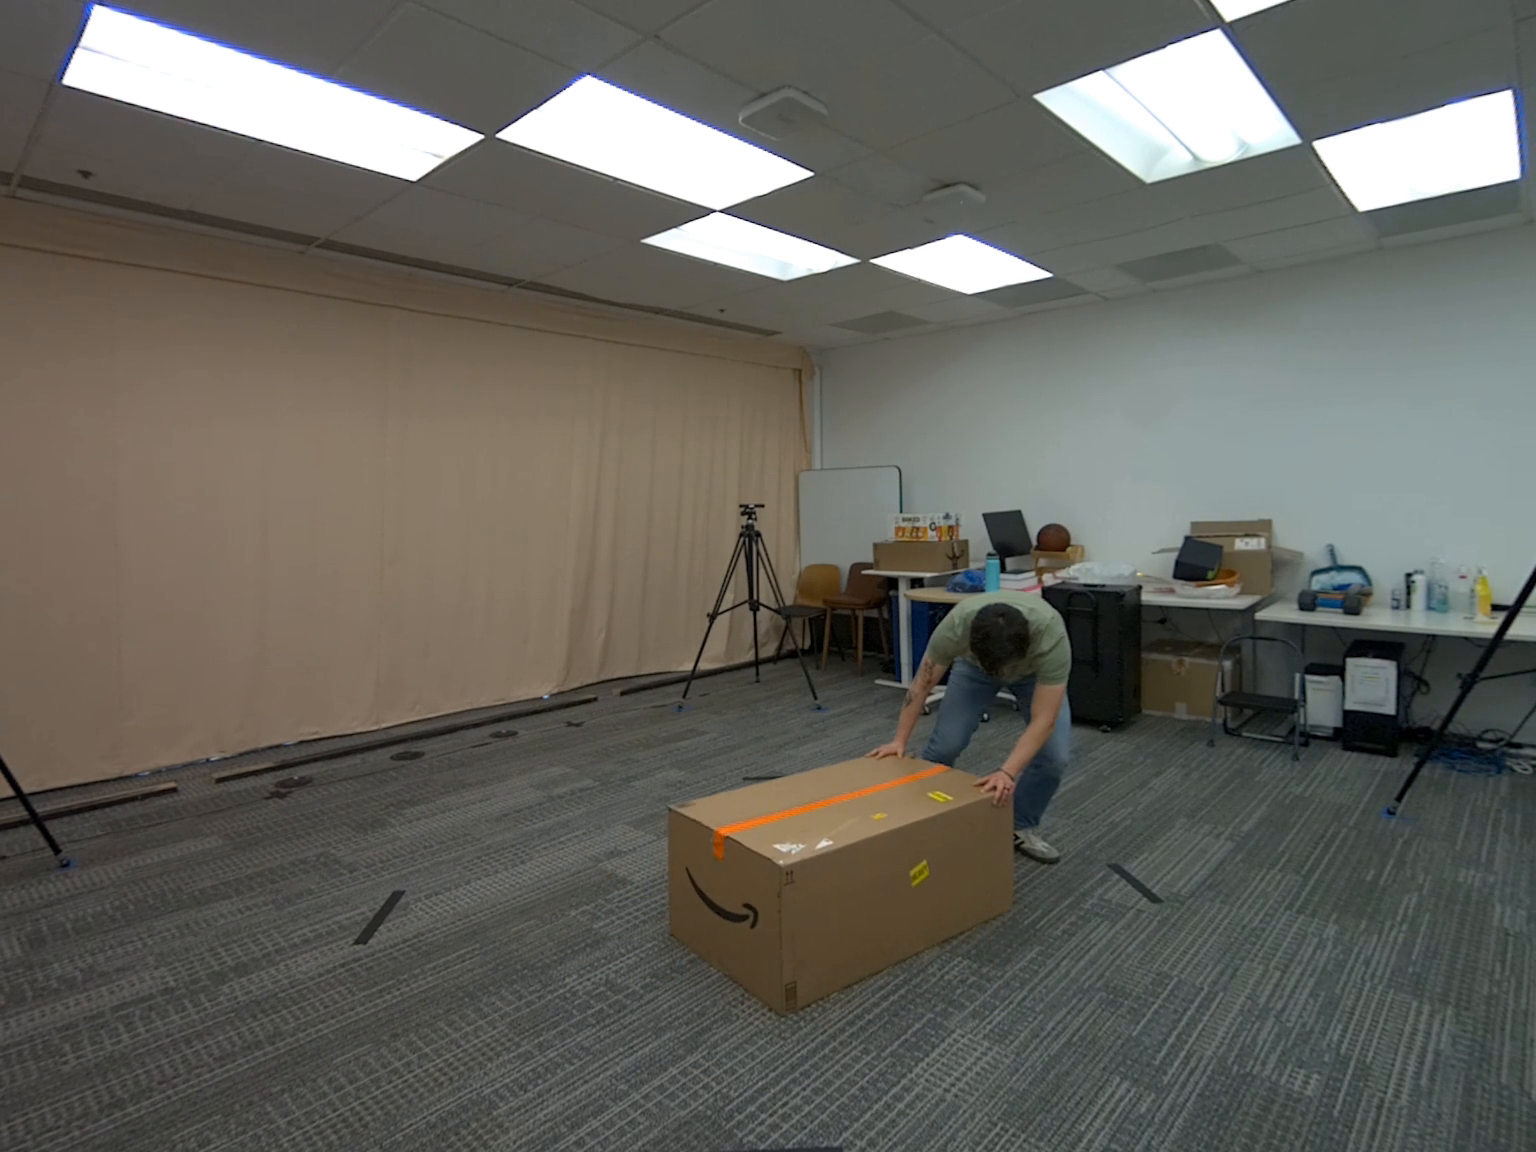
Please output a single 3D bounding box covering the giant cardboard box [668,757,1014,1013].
[{"bbox_3d":[0.259,0.940,2.785,0.996,0.425,0.596,-4,6,-37],"label":"giant cardboard box"}]
